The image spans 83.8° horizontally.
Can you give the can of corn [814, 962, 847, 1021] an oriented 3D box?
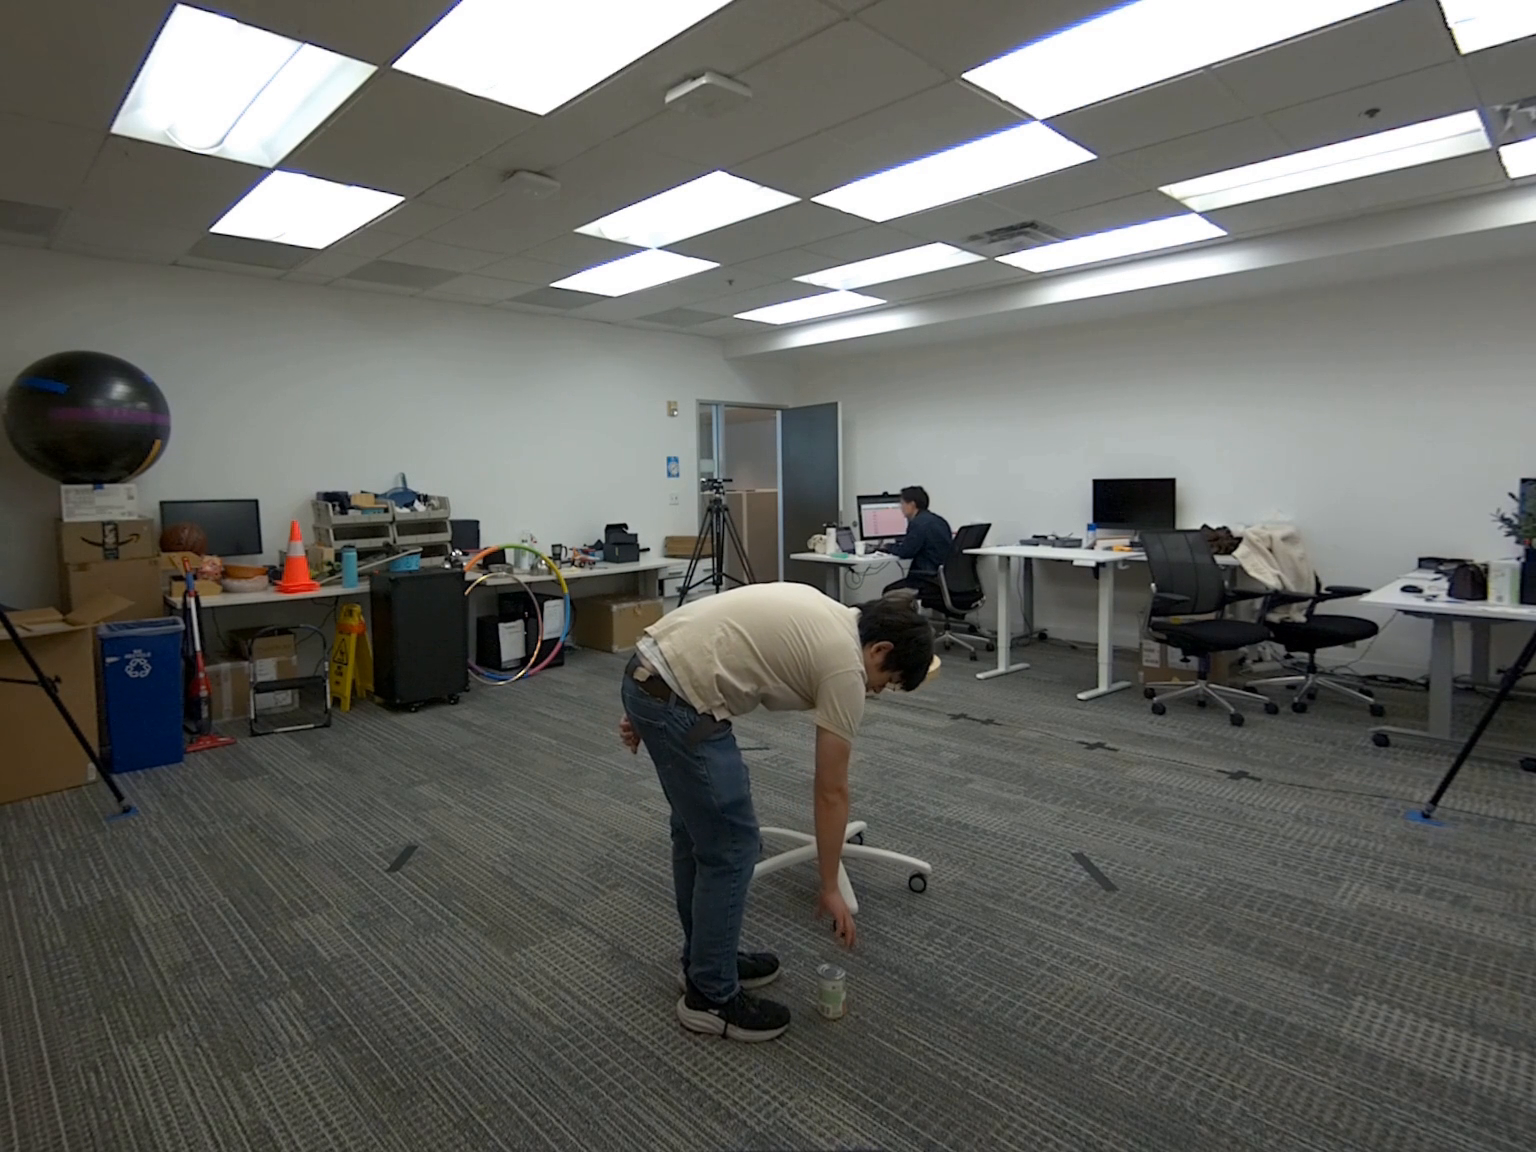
[{"bbox_3d":[0.167,1.081,2.233,0.074,0.110,0.075,-2,6,-1],"label":"can of corn"}]
